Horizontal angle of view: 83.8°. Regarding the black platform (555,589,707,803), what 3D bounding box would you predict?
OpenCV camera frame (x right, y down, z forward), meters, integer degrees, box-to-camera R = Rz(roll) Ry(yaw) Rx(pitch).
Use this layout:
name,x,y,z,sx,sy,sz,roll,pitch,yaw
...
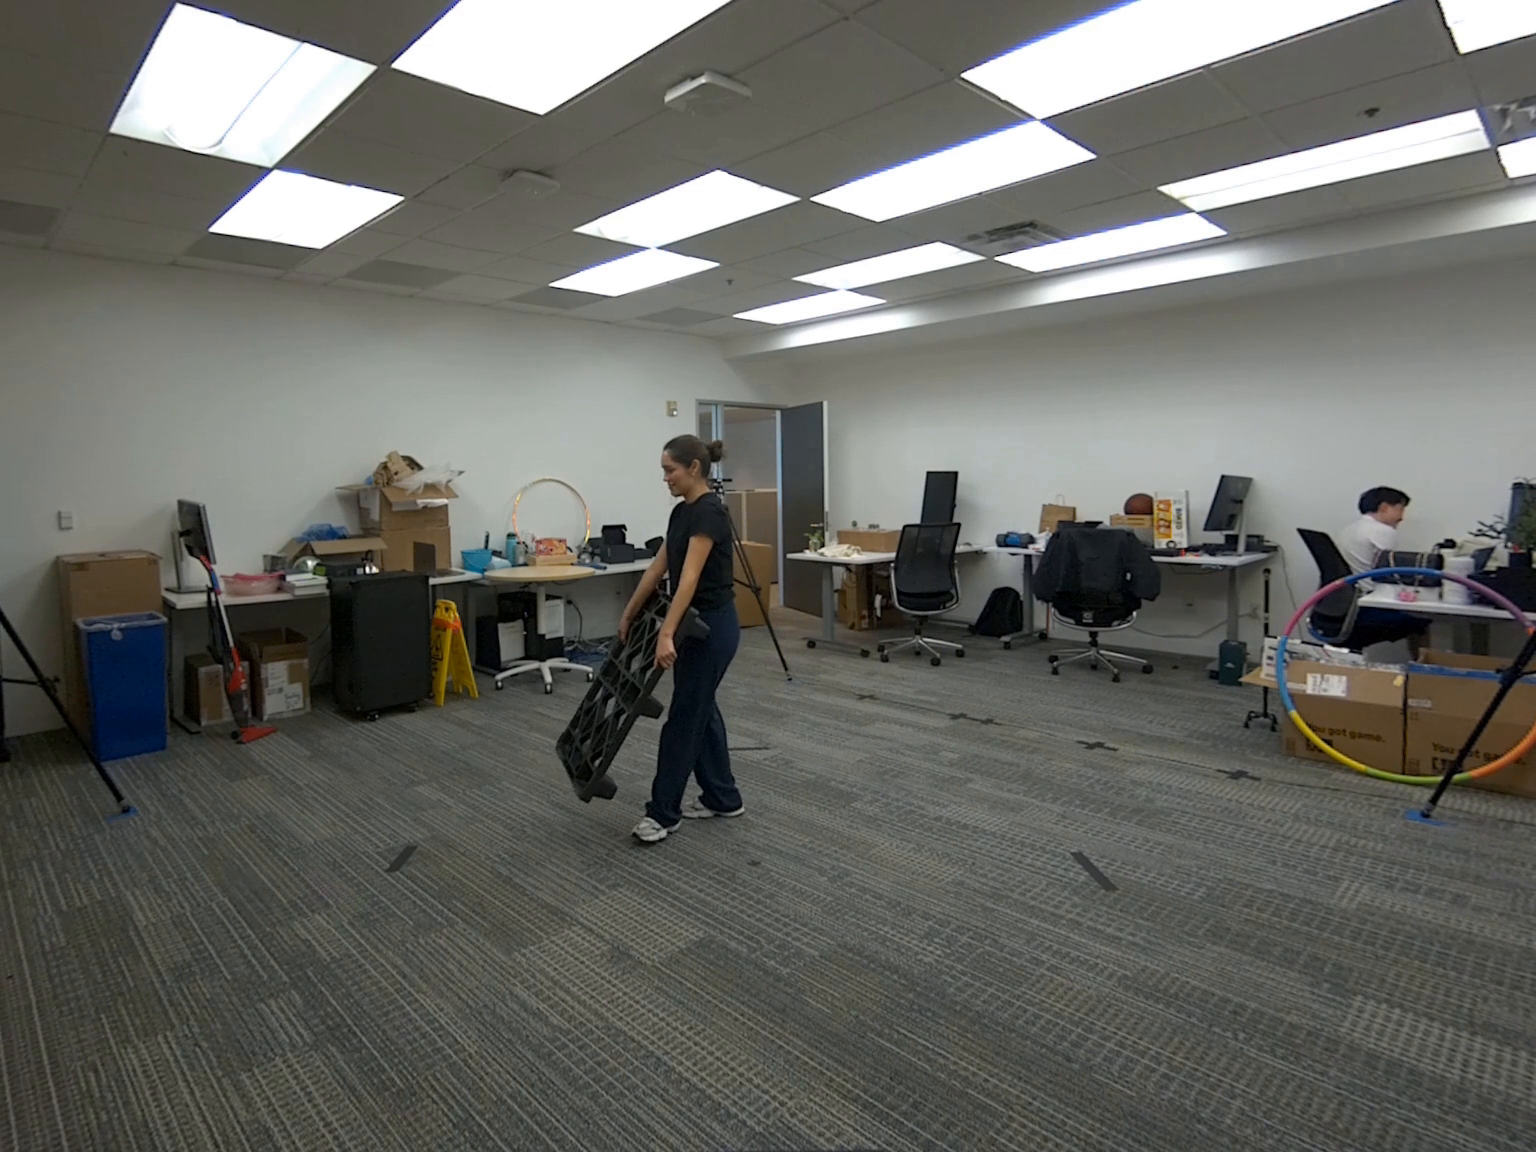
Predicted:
name,x,y,z,sx,sy,sz,roll,pitch,yaw
black platform,-0.547,0.448,3.399,0.139,0.807,0.620,32,-5,-23
